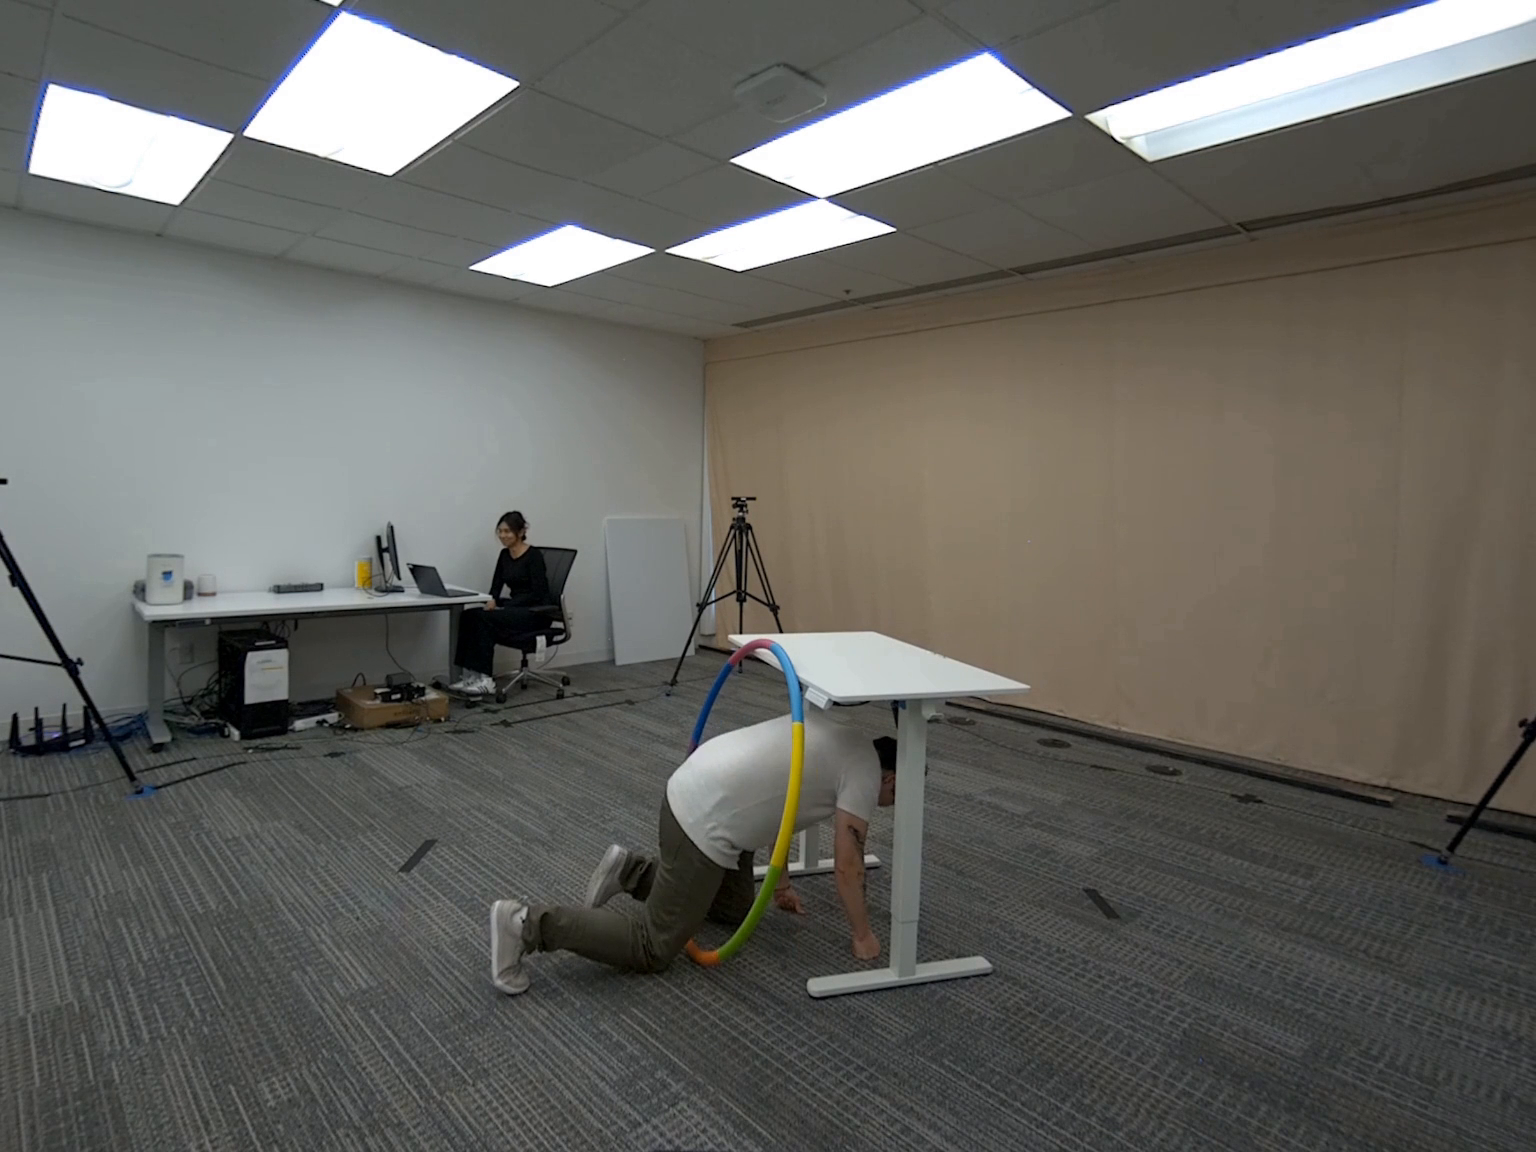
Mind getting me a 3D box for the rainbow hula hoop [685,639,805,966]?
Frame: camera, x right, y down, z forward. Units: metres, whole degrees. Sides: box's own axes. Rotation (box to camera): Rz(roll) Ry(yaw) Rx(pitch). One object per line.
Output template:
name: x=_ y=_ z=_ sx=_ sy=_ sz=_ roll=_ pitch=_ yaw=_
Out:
rainbow hula hoop: x=-0.134 y=0.680 z=2.642 sx=0.035 sy=0.979 sz=0.995 roll=18 pitch=-1 yaw=-20
